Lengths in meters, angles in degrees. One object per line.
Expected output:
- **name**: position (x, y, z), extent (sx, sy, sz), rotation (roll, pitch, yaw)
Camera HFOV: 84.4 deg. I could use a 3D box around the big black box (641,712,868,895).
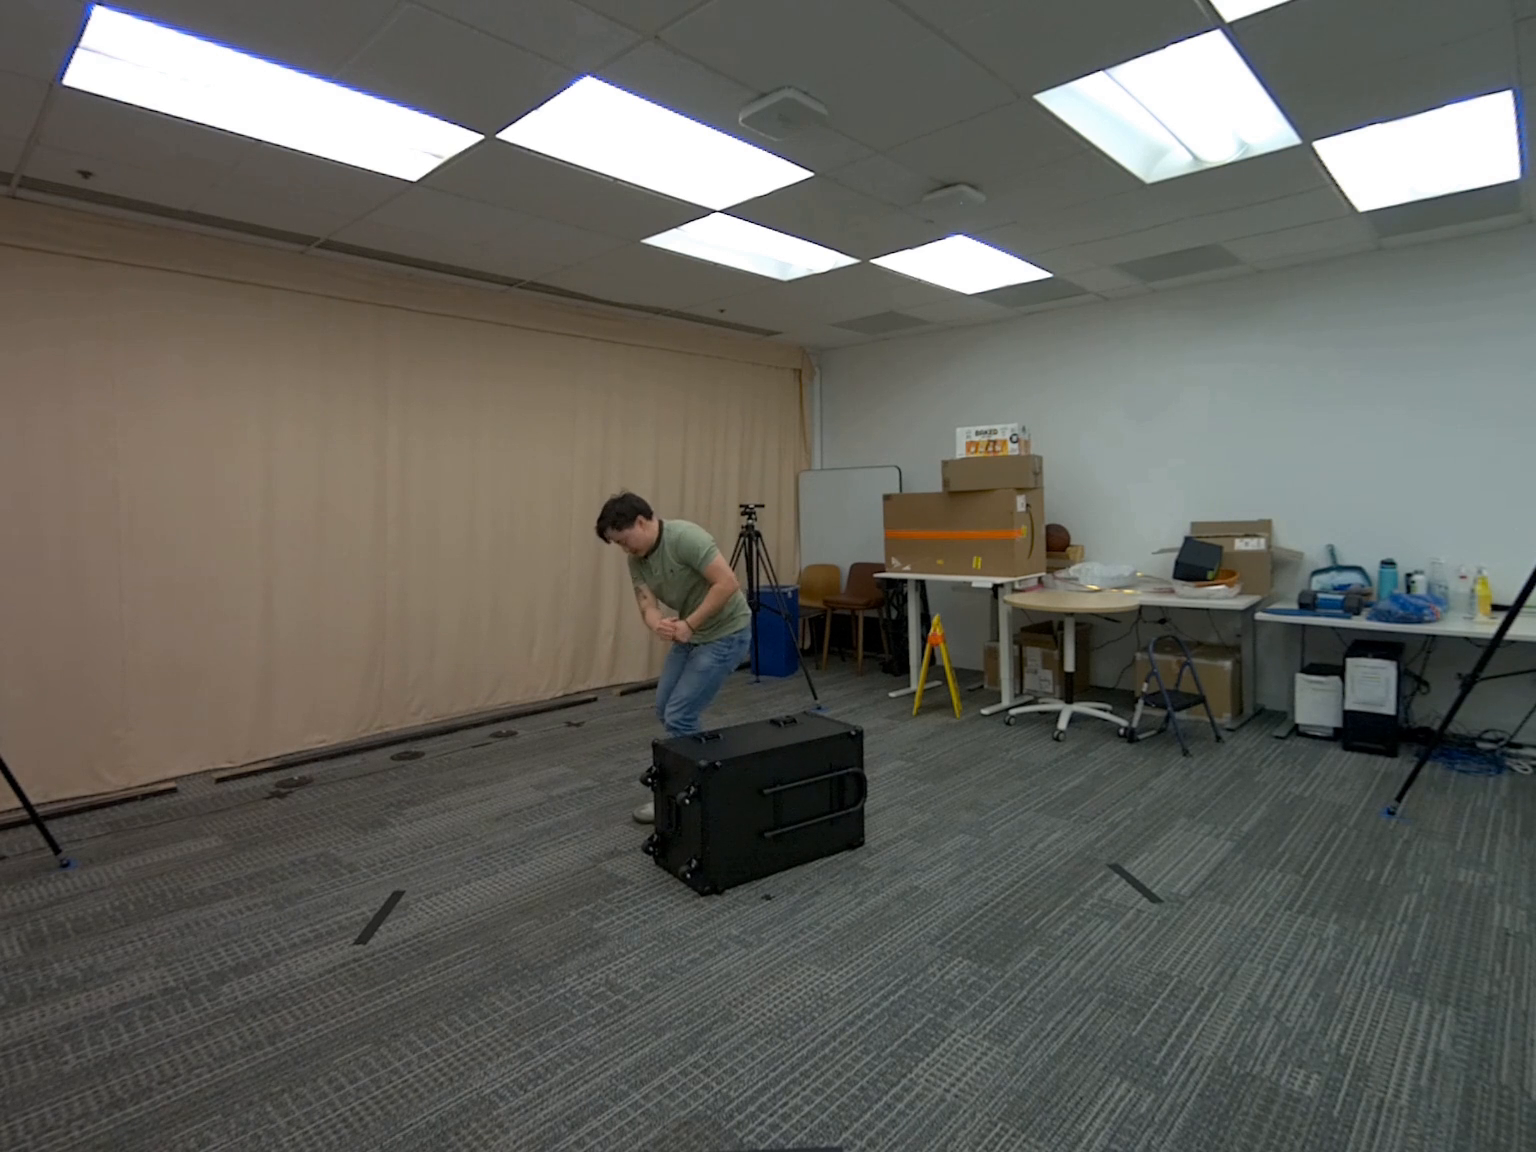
- **big black box**: position (-0.043, 0.871, 3.308), extent (0.837, 0.520, 0.408), rotation (-5, 5, -34)
